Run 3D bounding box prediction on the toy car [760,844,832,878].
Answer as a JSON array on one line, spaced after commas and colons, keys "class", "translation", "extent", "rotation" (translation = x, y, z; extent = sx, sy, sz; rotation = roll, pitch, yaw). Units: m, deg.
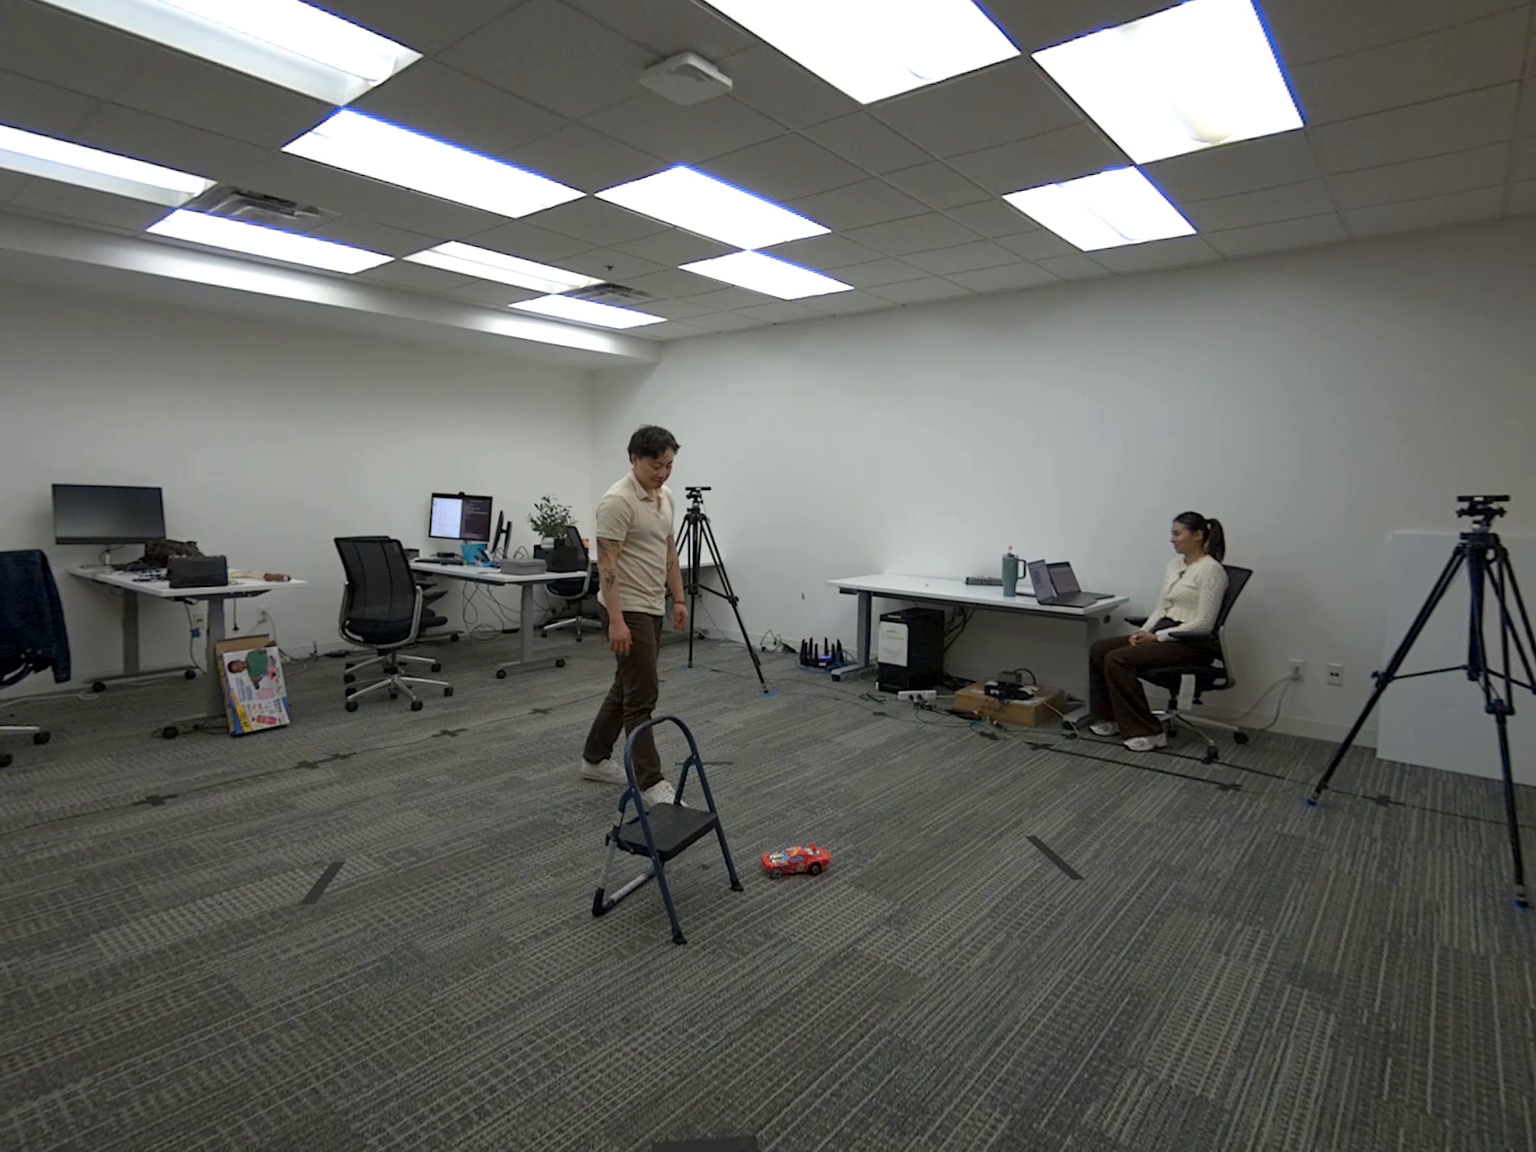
[{"class": "toy car", "translation": [0.101, 1.041, 3.110], "extent": [0.252, 0.082, 0.133], "rotation": [-12, 8, -14]}]
